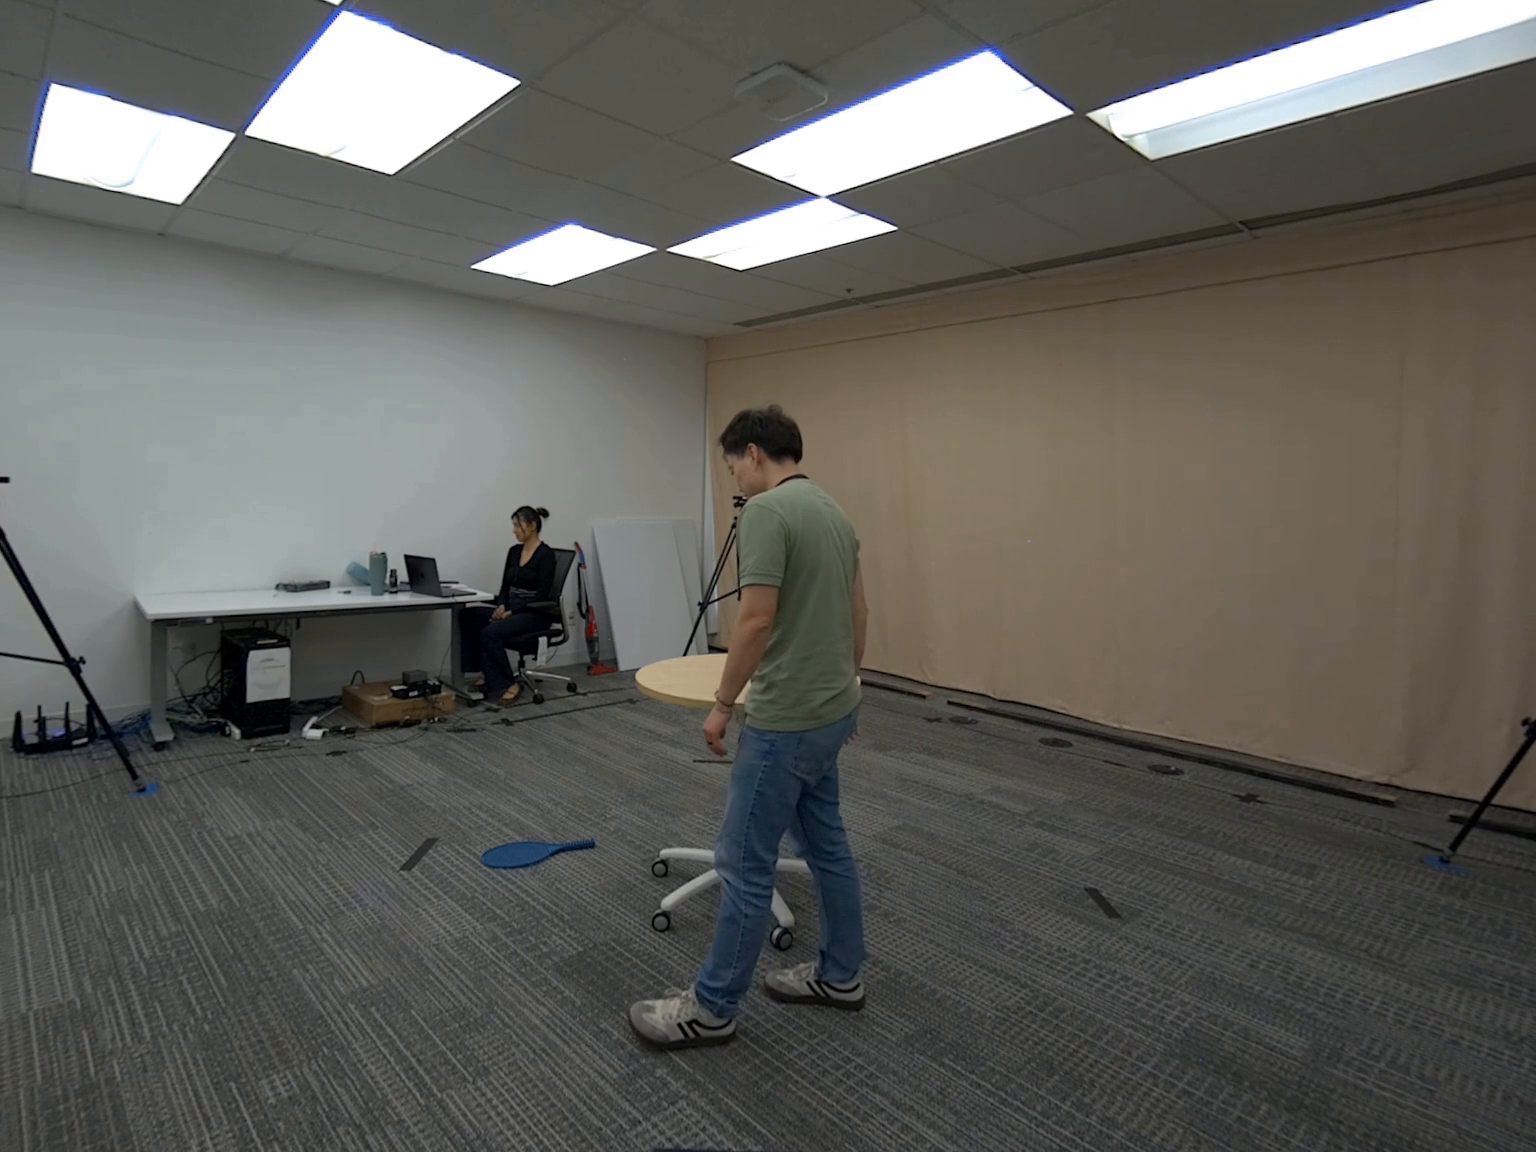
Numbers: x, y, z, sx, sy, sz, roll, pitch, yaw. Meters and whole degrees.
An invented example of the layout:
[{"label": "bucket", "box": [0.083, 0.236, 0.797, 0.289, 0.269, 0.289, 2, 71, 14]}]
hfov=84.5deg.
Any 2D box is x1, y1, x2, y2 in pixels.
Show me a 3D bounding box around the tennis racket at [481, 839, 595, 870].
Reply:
[{"label": "tennis racket", "box": [-0.888, 1.060, 3.246, 0.426, 0.031, 0.218, -2, 6, -23]}]
